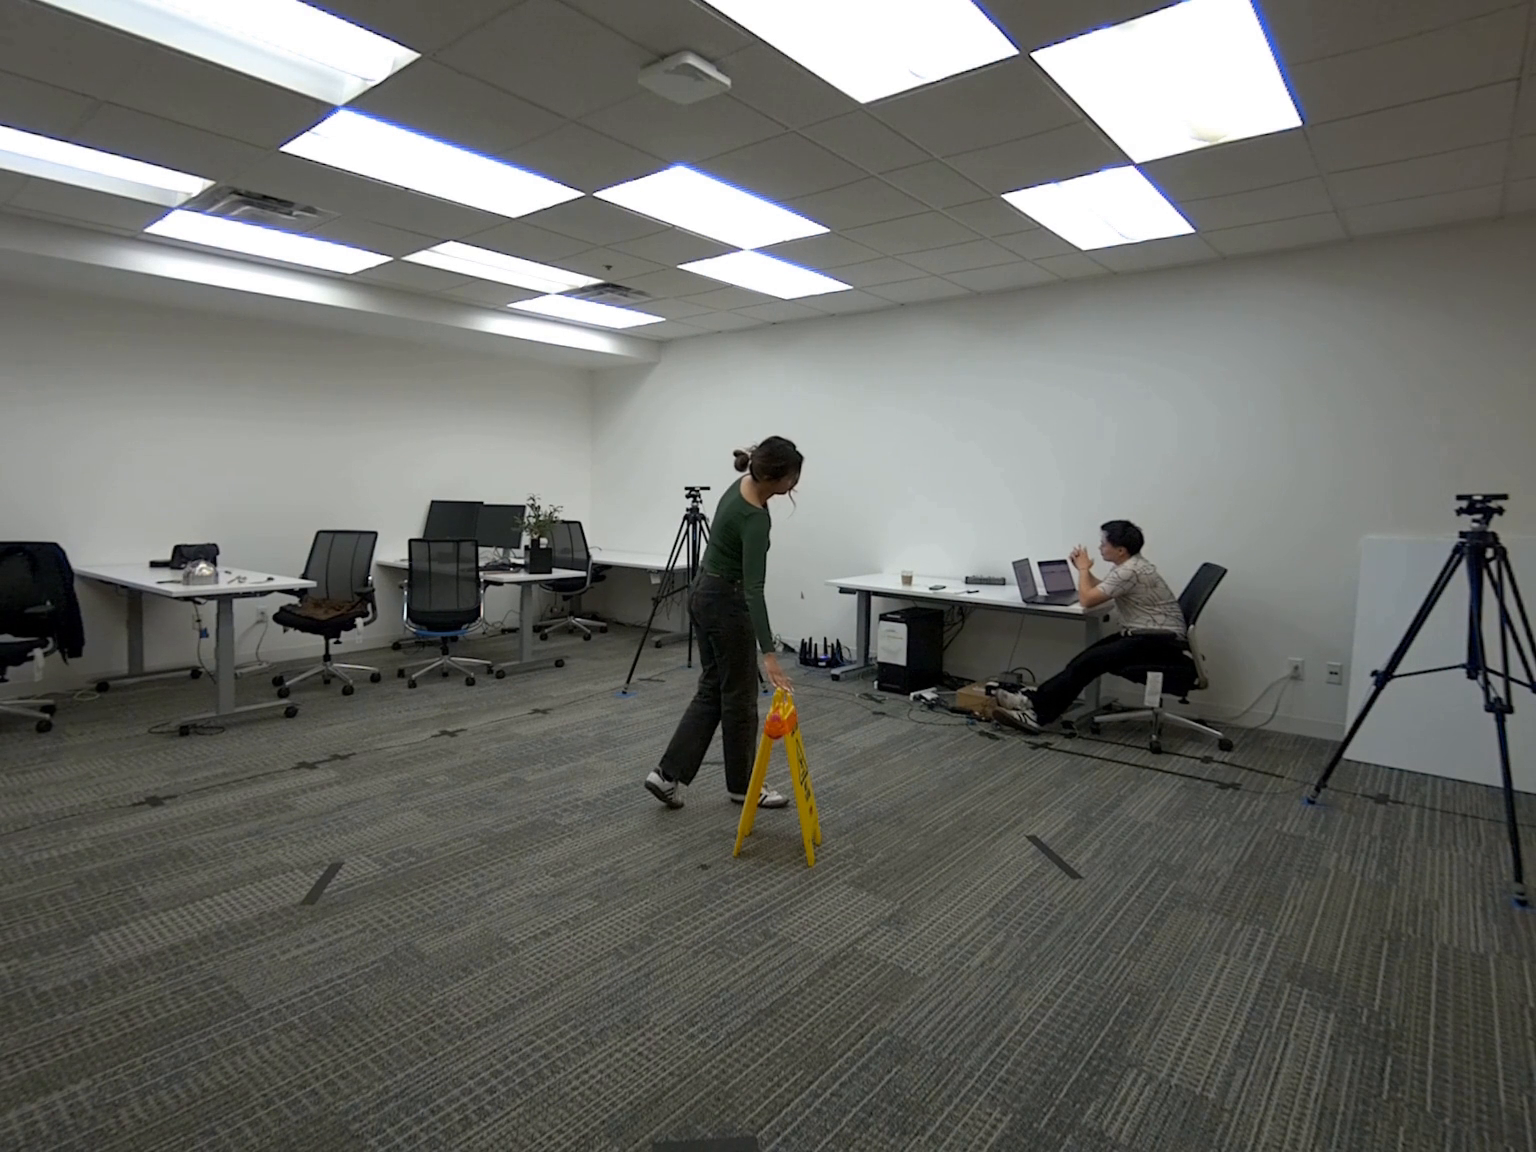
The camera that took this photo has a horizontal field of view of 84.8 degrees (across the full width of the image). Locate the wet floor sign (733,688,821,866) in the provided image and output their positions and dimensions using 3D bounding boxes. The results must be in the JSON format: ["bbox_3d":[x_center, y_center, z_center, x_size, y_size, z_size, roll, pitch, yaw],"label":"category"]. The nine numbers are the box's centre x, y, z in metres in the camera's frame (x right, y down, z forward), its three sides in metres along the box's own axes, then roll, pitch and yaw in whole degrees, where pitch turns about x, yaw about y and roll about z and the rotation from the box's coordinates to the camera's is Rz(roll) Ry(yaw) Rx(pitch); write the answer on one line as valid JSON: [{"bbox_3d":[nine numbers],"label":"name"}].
[{"bbox_3d":[0.035,0.727,3.285,0.294,0.645,0.278,1,2,13],"label":"wet floor sign"}]
